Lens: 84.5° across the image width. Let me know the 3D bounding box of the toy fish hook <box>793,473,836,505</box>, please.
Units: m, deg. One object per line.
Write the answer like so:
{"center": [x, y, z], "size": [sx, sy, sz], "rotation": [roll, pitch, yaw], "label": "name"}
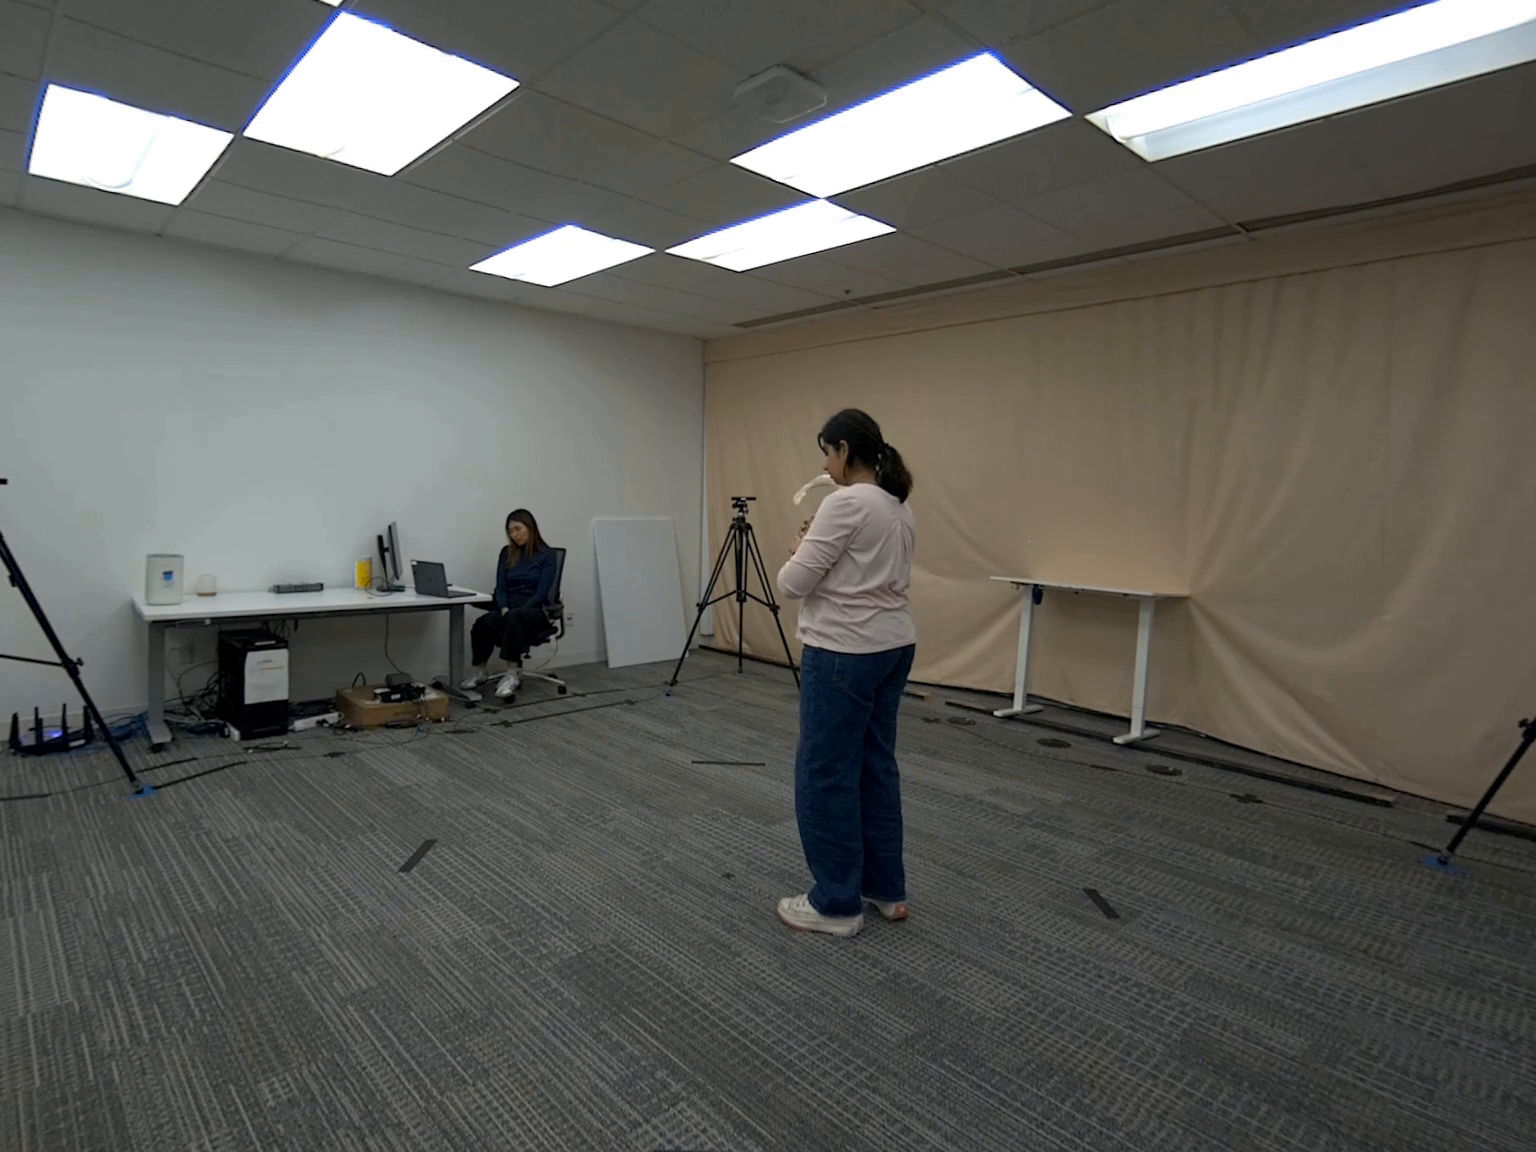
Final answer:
{"center": [0.164, -0.228, 3.129], "size": [0.229, 0.047, 0.509], "rotation": [-4, 37, 34], "label": "toy fish hook"}
